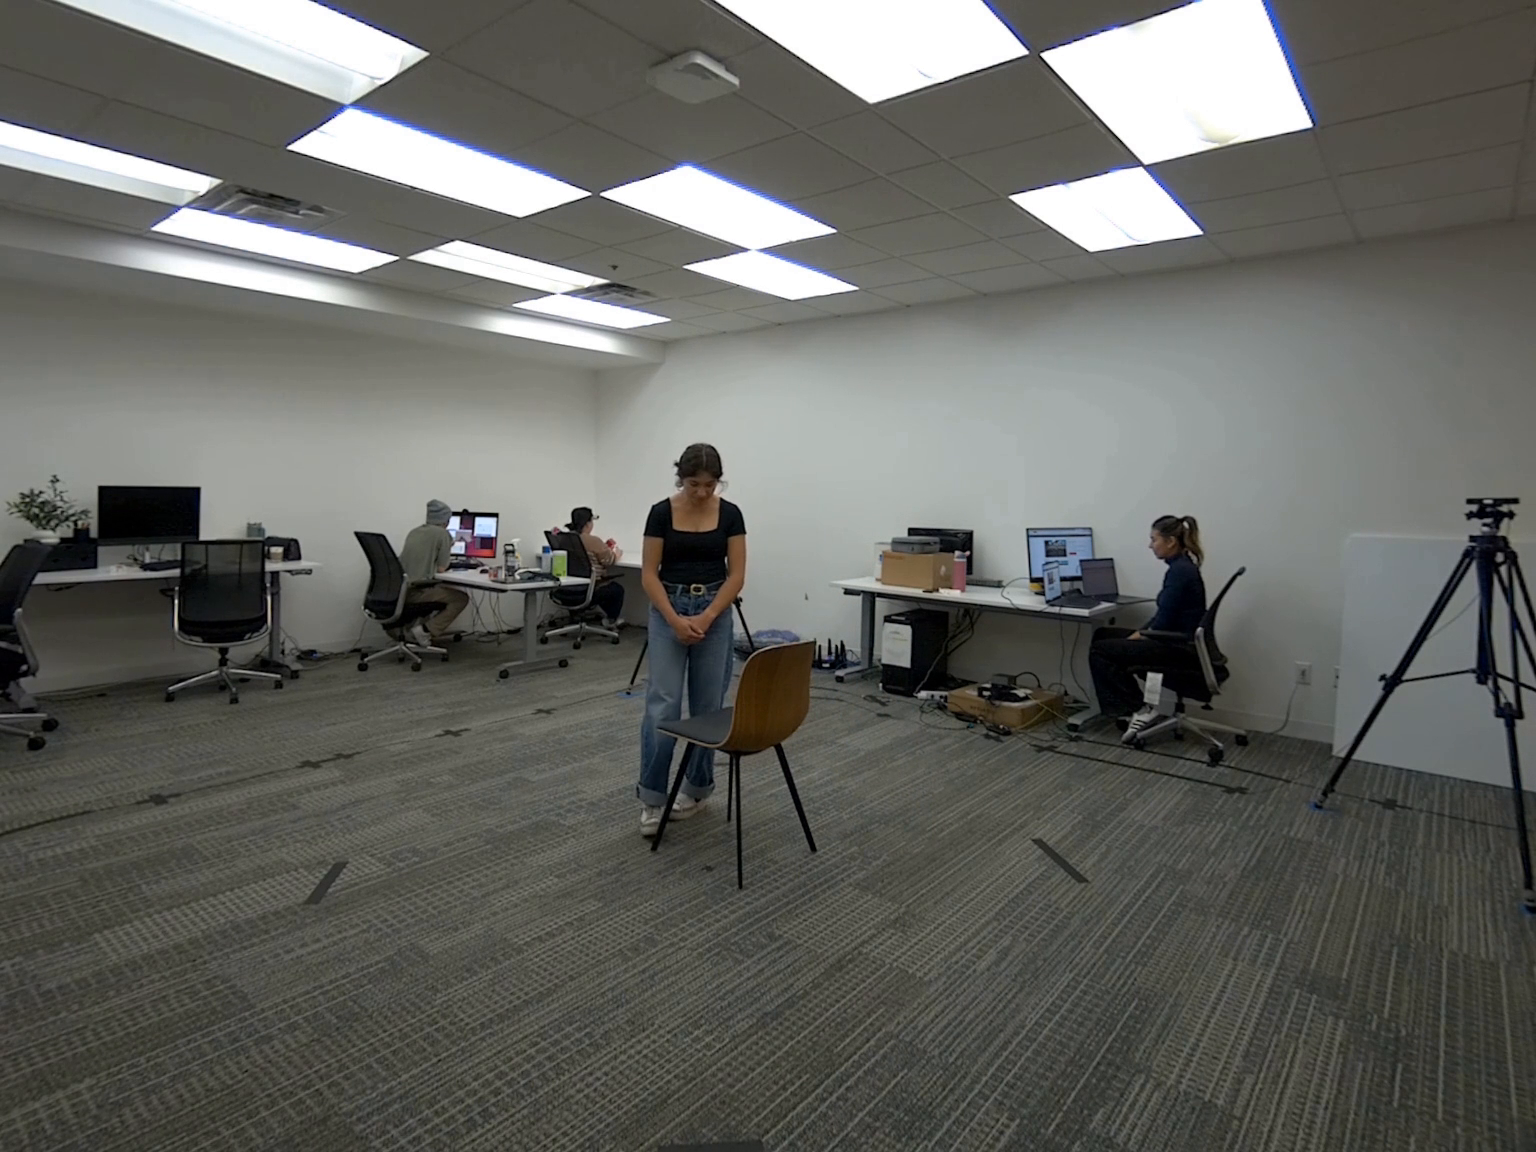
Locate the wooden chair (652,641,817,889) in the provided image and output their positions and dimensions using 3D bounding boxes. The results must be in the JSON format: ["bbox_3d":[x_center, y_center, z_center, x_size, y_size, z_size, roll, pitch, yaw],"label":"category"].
[{"bbox_3d":[-0.130,0.630,3.238,0.542,0.873,0.464,10,8,40],"label":"wooden chair"}]
